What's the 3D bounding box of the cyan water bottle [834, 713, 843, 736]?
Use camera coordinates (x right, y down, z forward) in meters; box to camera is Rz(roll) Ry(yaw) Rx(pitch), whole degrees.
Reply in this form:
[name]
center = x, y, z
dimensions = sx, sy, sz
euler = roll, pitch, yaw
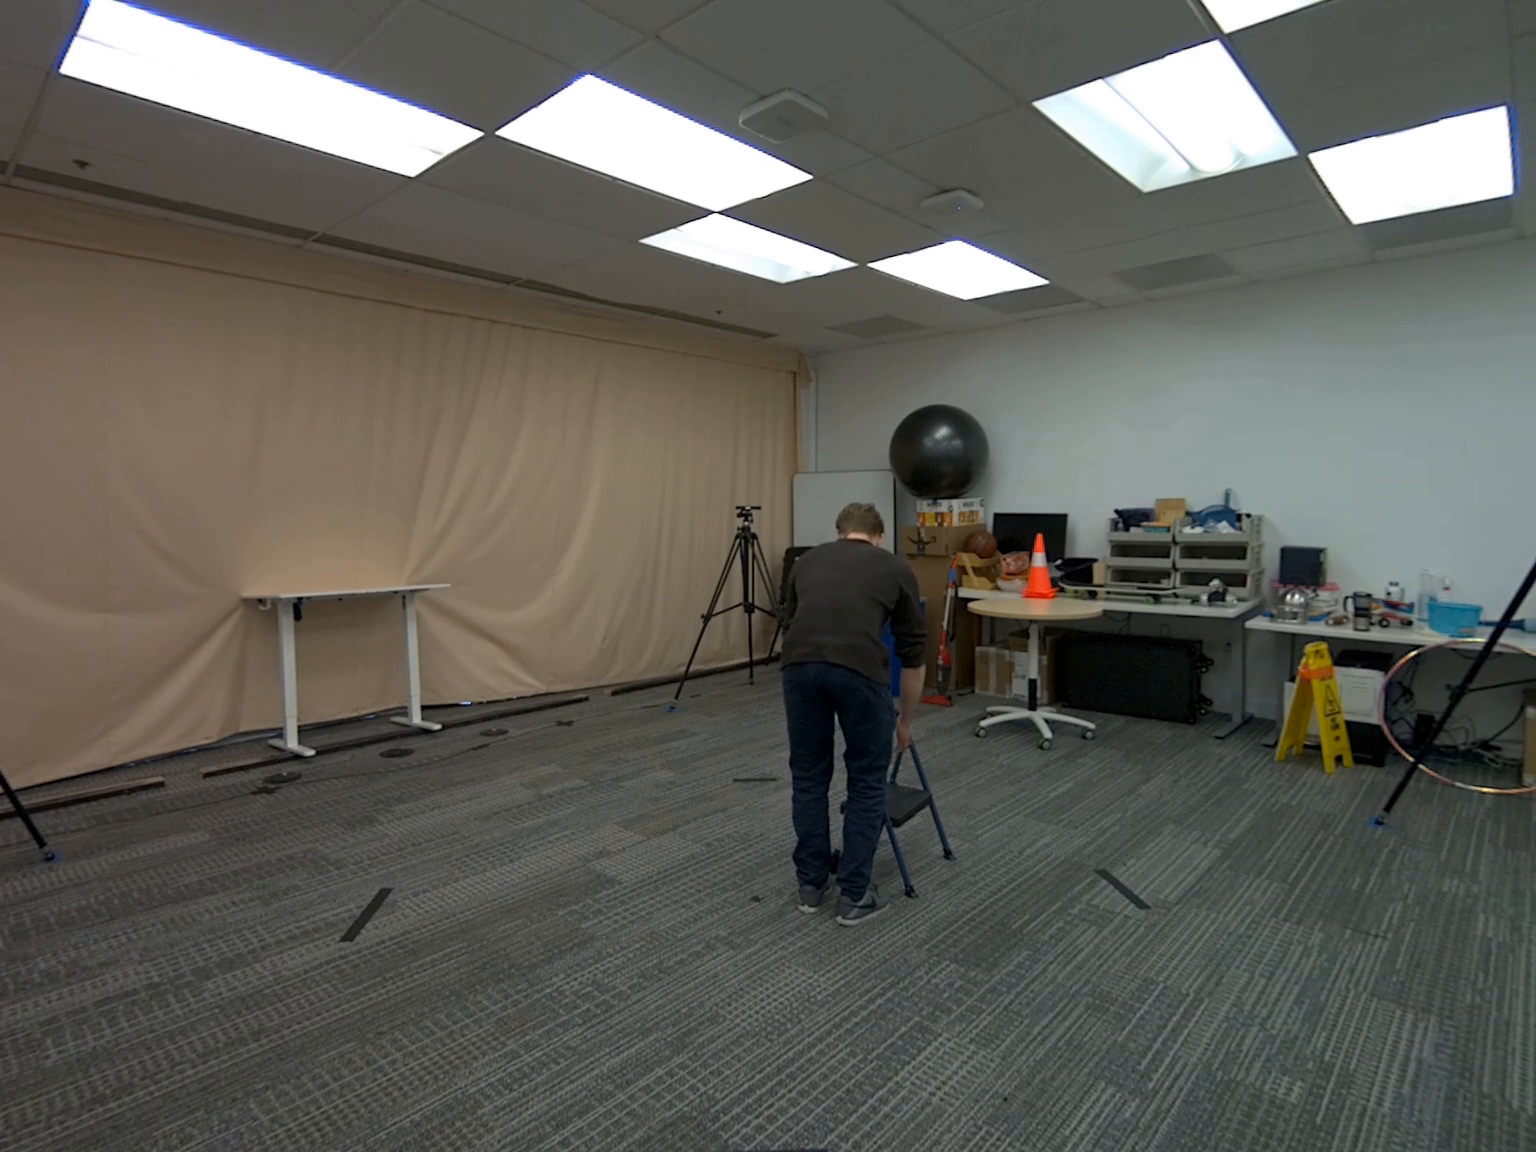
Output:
[cyan water bottle]
center = 0.242, 0.588, 3.298
dimensions = 0.094, 0.091, 0.280
euler = 1, 14, 18
